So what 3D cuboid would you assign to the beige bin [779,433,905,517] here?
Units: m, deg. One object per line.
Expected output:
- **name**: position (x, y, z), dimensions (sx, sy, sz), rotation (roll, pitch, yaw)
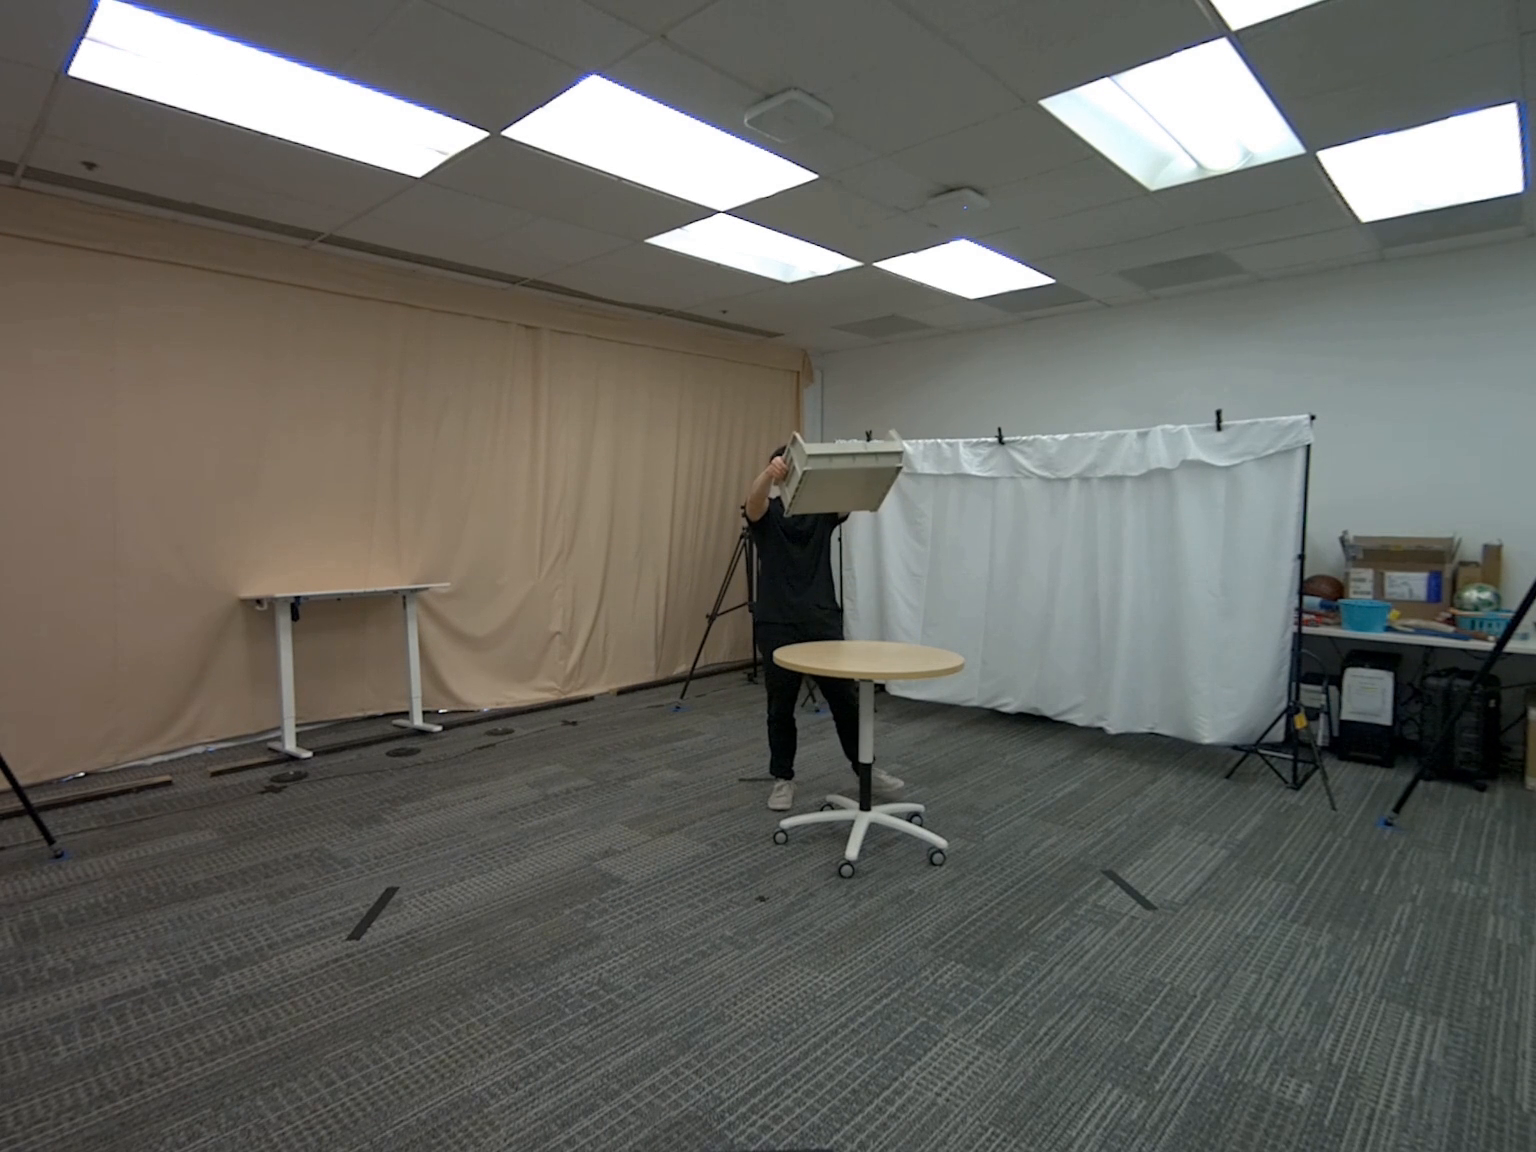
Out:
- **beige bin**: position (0.287, -0.406, 3.373), dimensions (0.416, 0.193, 0.375), rotation (-3, -31, -14)
